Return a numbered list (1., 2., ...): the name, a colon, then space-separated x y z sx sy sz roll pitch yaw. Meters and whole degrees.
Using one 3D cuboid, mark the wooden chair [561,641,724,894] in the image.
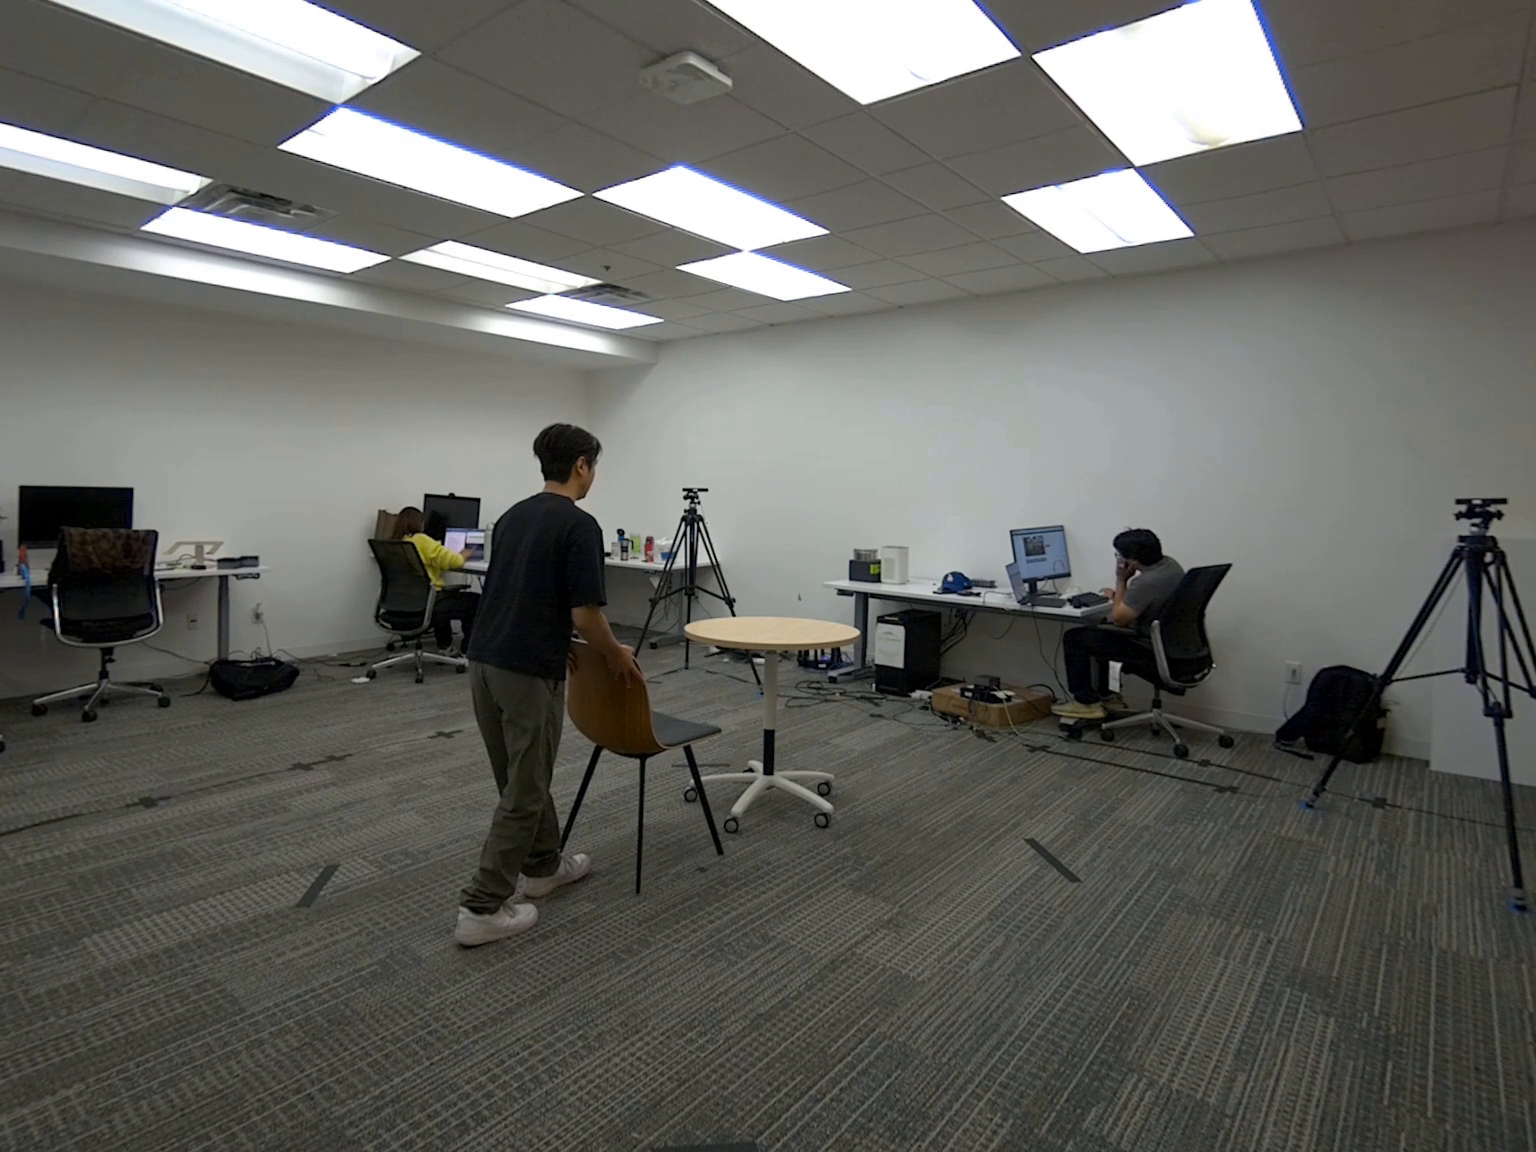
1. wooden chair: -0.478 0.627 3.195 0.494 0.872 0.509 3 8 39
